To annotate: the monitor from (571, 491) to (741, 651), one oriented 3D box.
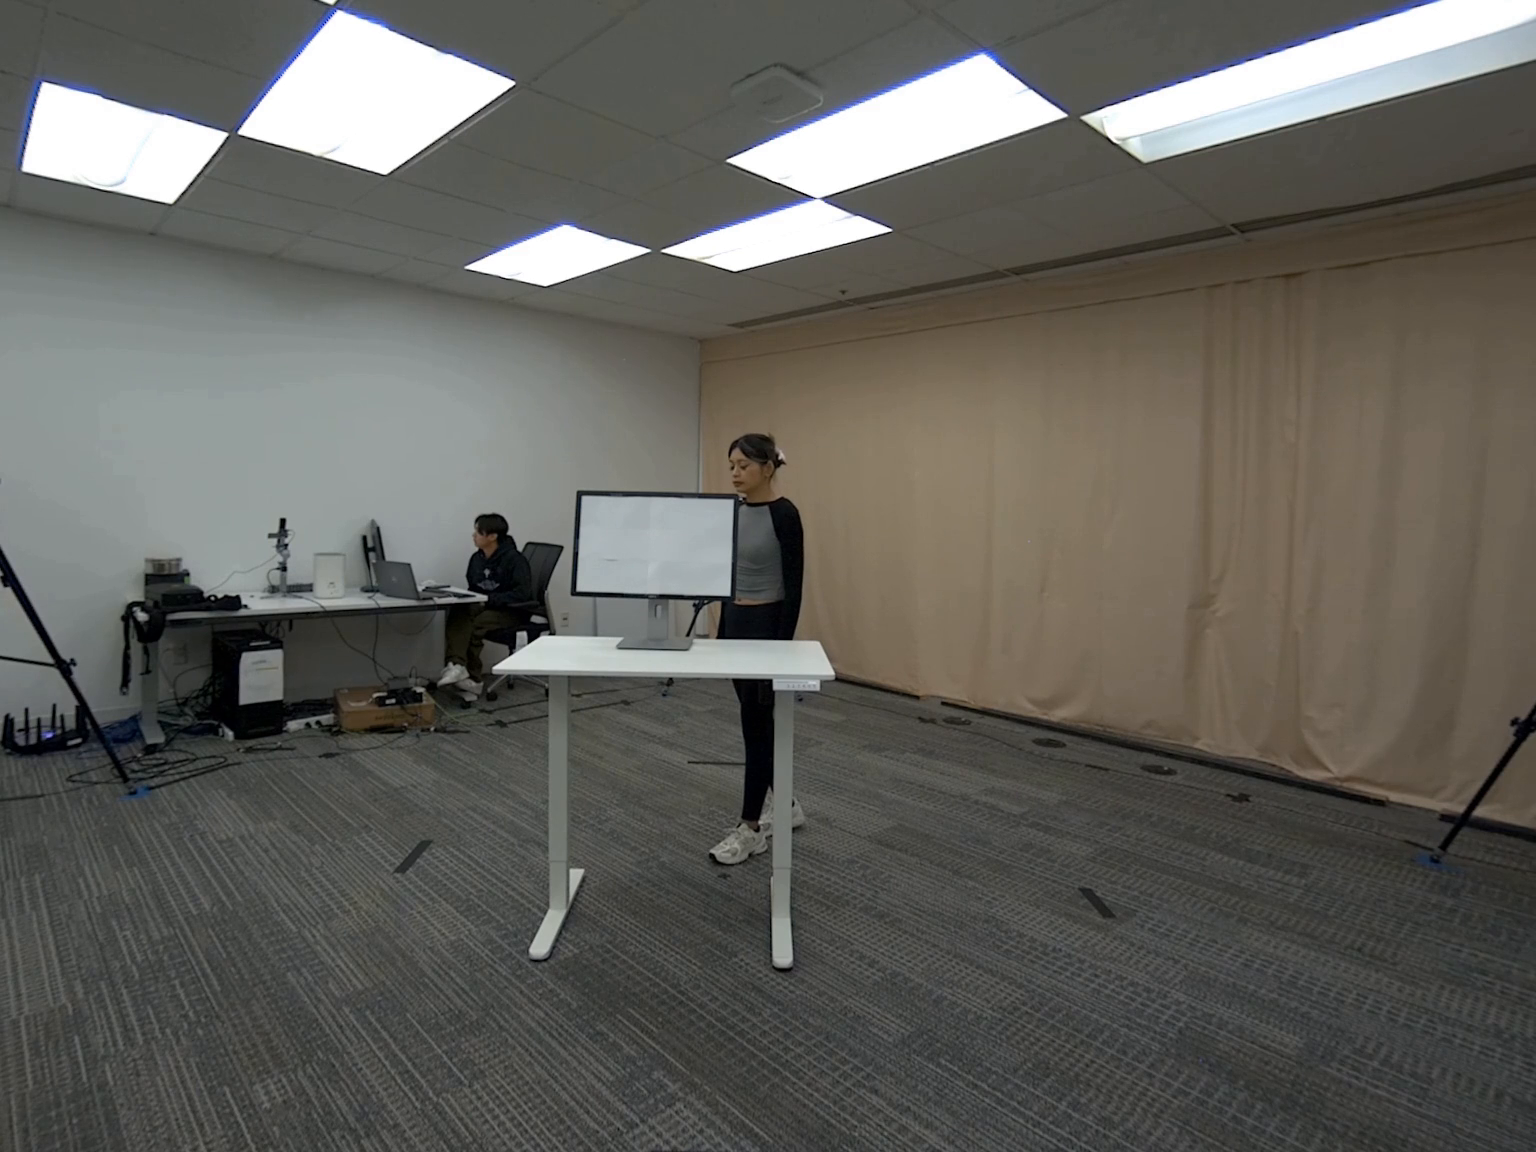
[{"bbox_3d":[-0.381,-0.019,2.888,0.540,0.520,0.187,1,5,2],"label":"monitor"}]
